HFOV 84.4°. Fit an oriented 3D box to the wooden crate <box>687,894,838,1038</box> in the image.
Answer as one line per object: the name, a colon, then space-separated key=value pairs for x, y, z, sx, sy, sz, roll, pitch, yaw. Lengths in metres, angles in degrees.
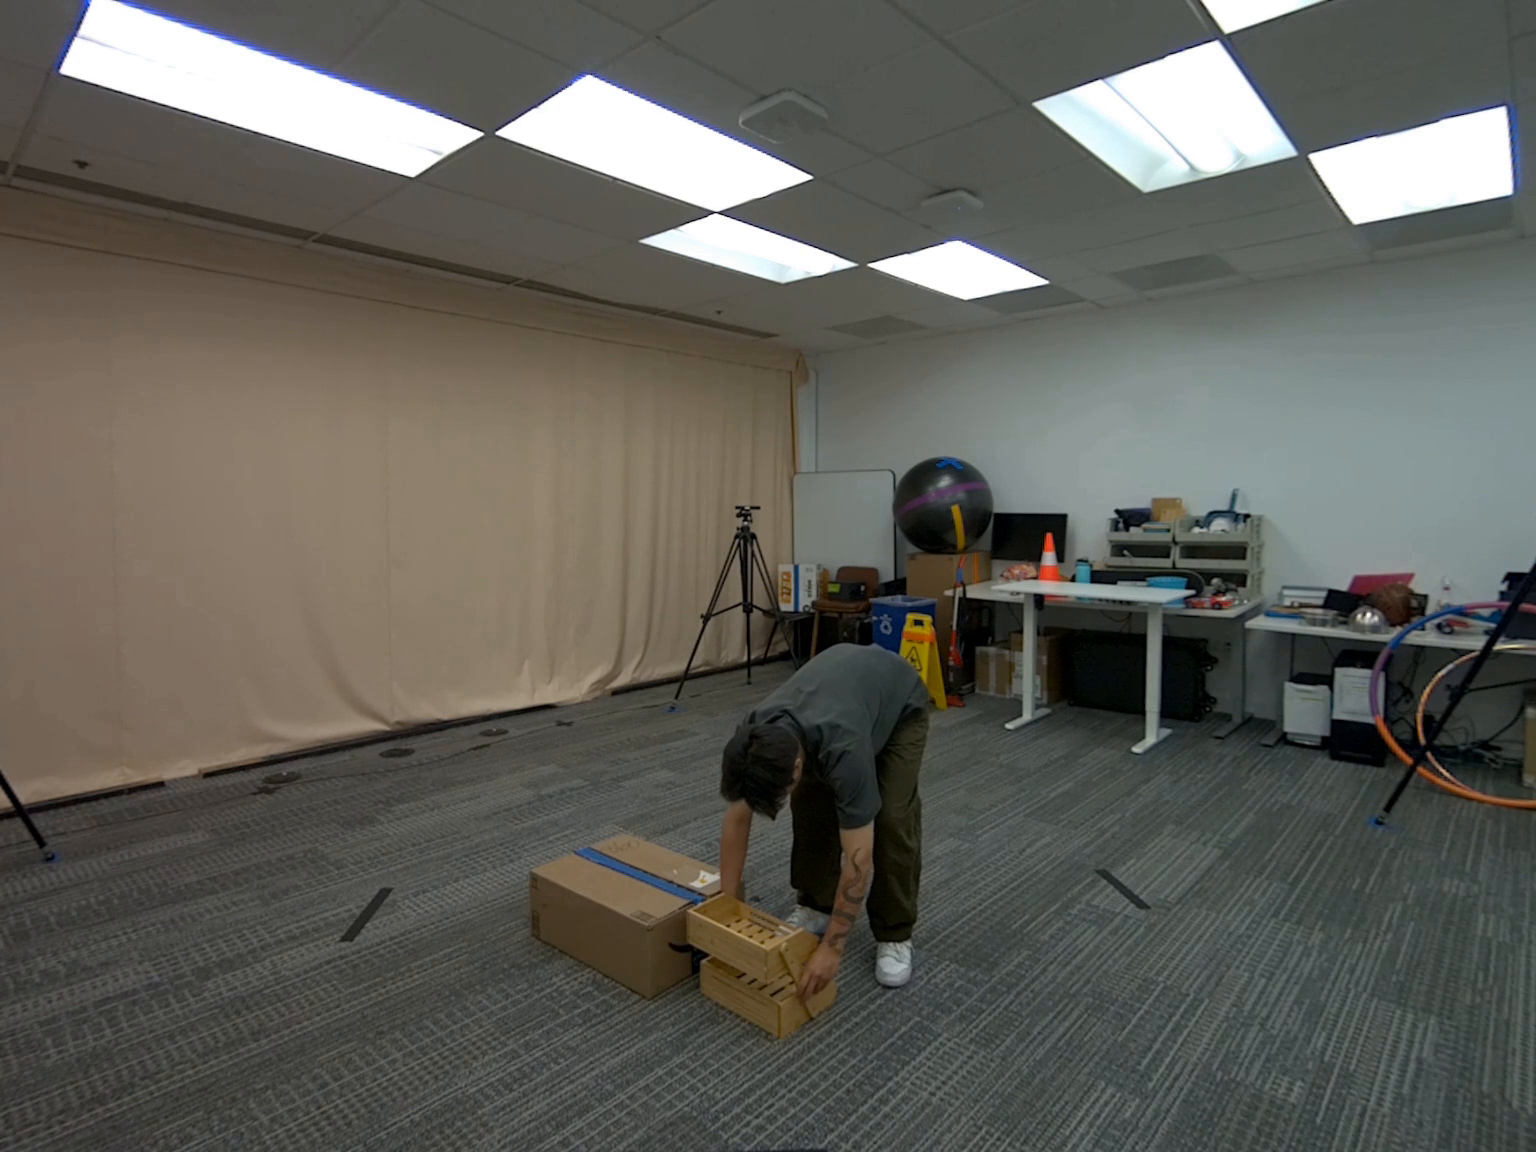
wooden crate: x=-0.014 y=1.065 z=2.360 sx=0.335 sy=0.272 sz=0.293 roll=4 pitch=6 yaw=43
